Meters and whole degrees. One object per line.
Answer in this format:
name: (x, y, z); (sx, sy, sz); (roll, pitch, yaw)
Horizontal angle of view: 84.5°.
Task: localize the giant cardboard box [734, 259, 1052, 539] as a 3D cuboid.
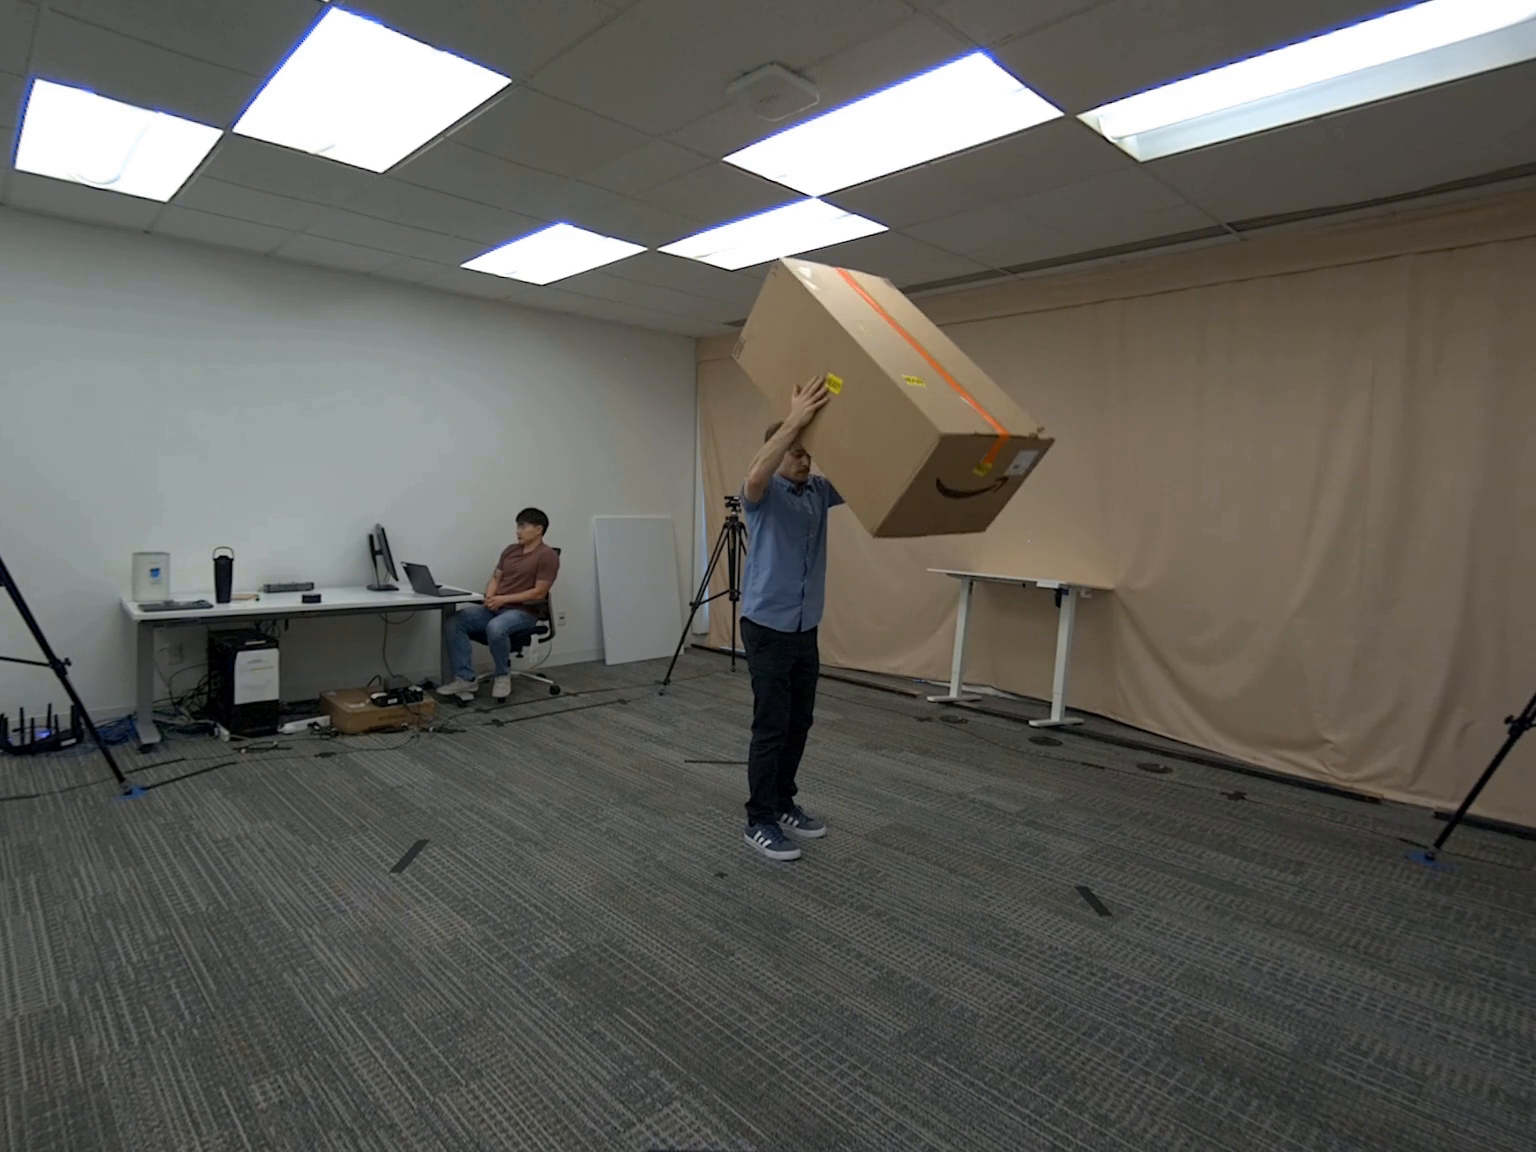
giant cardboard box: (0.400, -0.637, 3.009); (0.565, 0.423, 1.056); (-3, 47, -37)
